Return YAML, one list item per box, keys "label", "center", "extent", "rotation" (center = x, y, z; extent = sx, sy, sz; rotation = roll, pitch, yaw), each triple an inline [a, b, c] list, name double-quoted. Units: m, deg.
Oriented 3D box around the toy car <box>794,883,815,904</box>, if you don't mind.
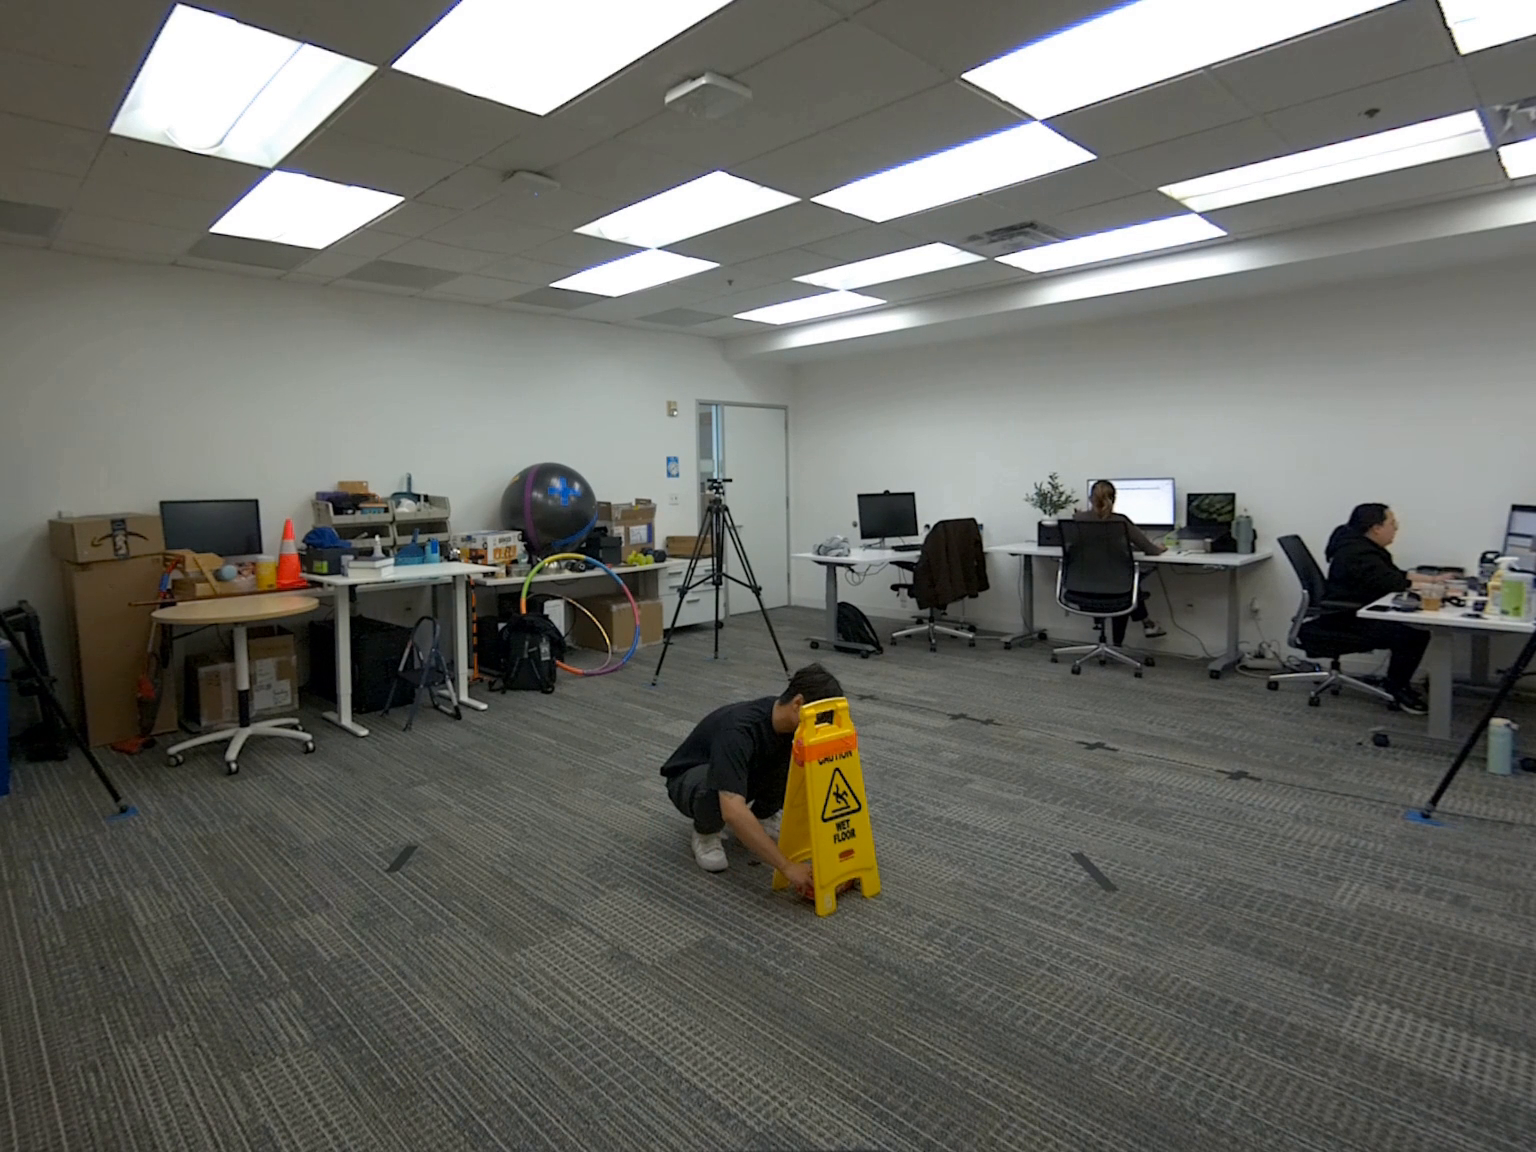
- label: "toy car"
  center: [0.204, 1.051, 2.870]
  extent: [0.134, 0.083, 0.246]
  rotation: [4, -2, 45]
